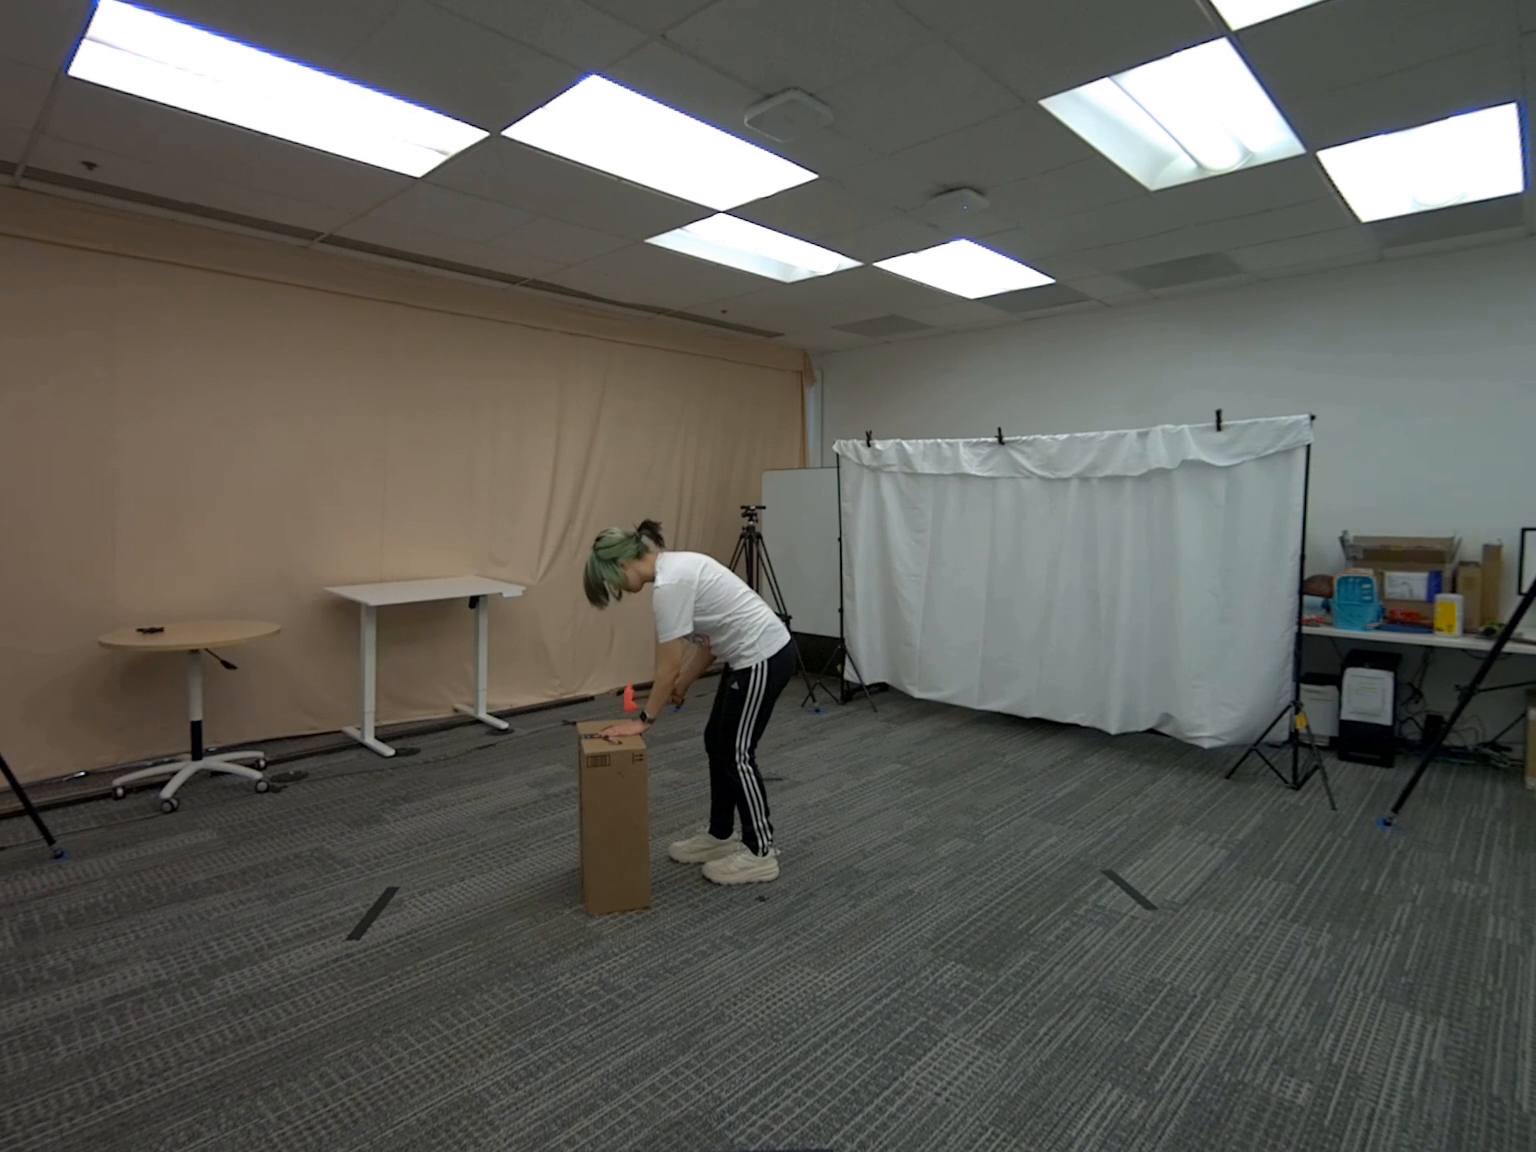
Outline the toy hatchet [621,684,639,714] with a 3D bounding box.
[{"bbox_3d":[-0.471,0.509,3.351,0.278,0.131,0.029,13,-29,27],"label":"toy hatchet"}]
